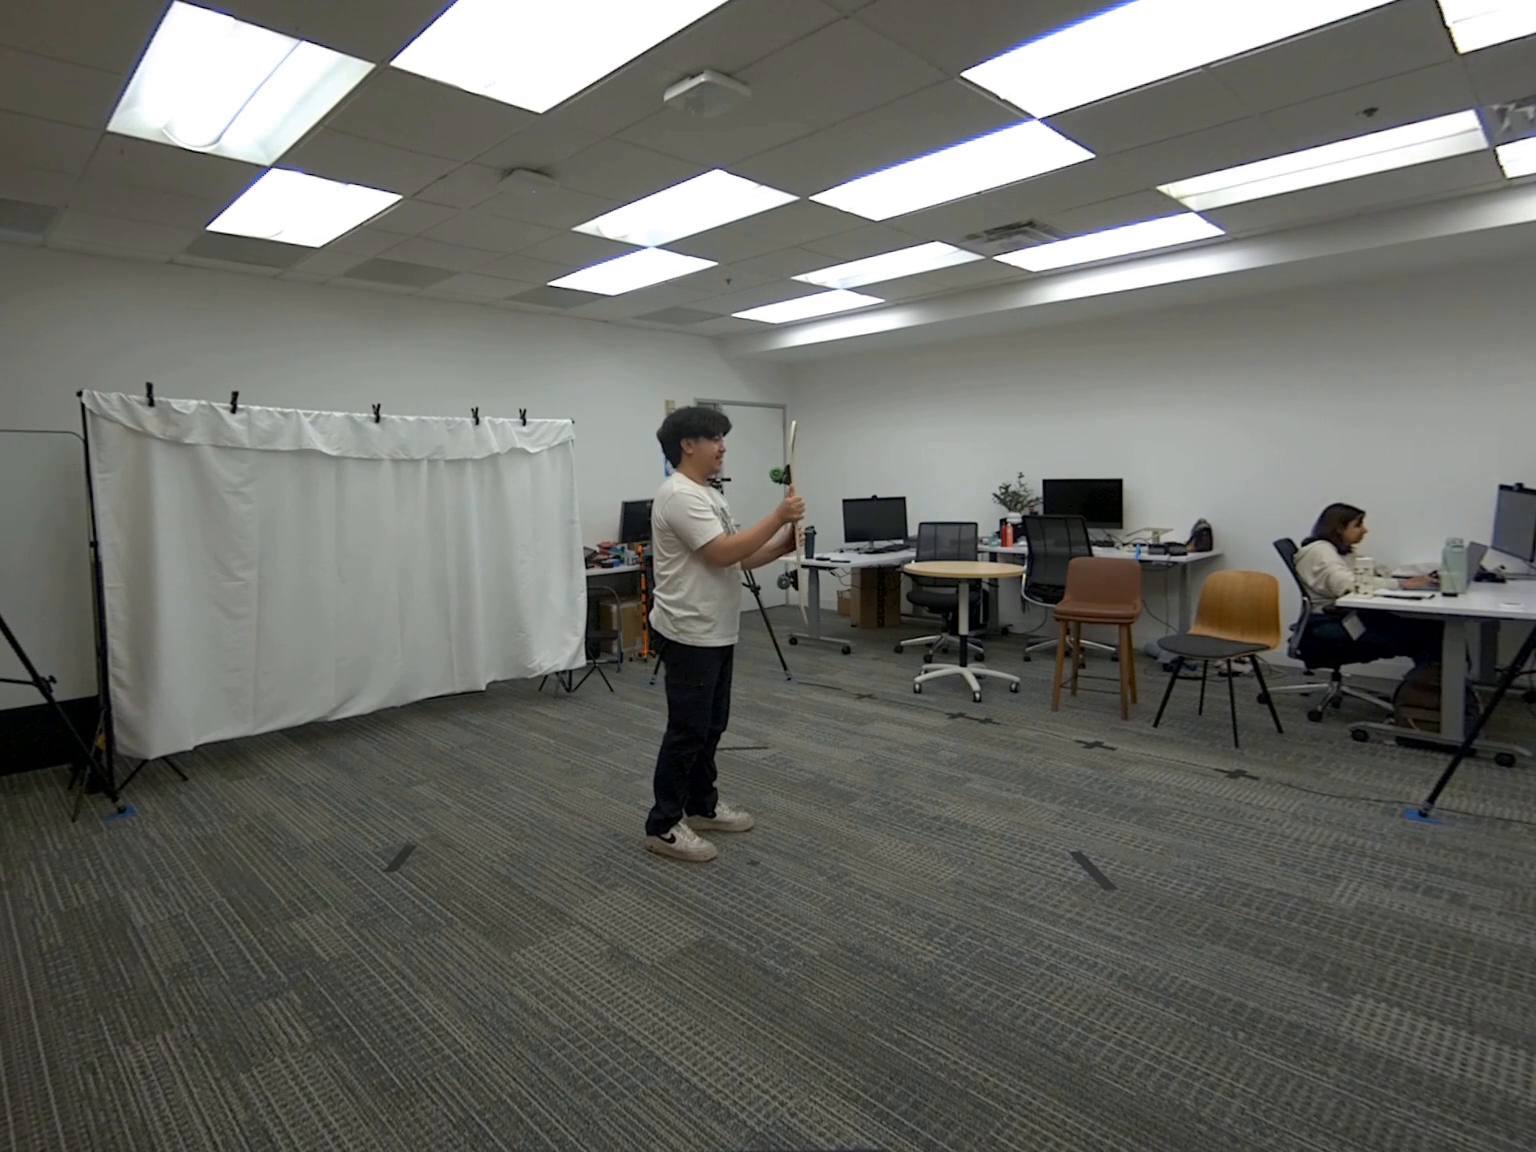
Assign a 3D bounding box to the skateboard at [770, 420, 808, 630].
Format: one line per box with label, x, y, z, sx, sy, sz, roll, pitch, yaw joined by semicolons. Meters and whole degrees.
skateboard;0.077;-0.182;3.187;0.110;0.788;0.193;-4;-3;-3
